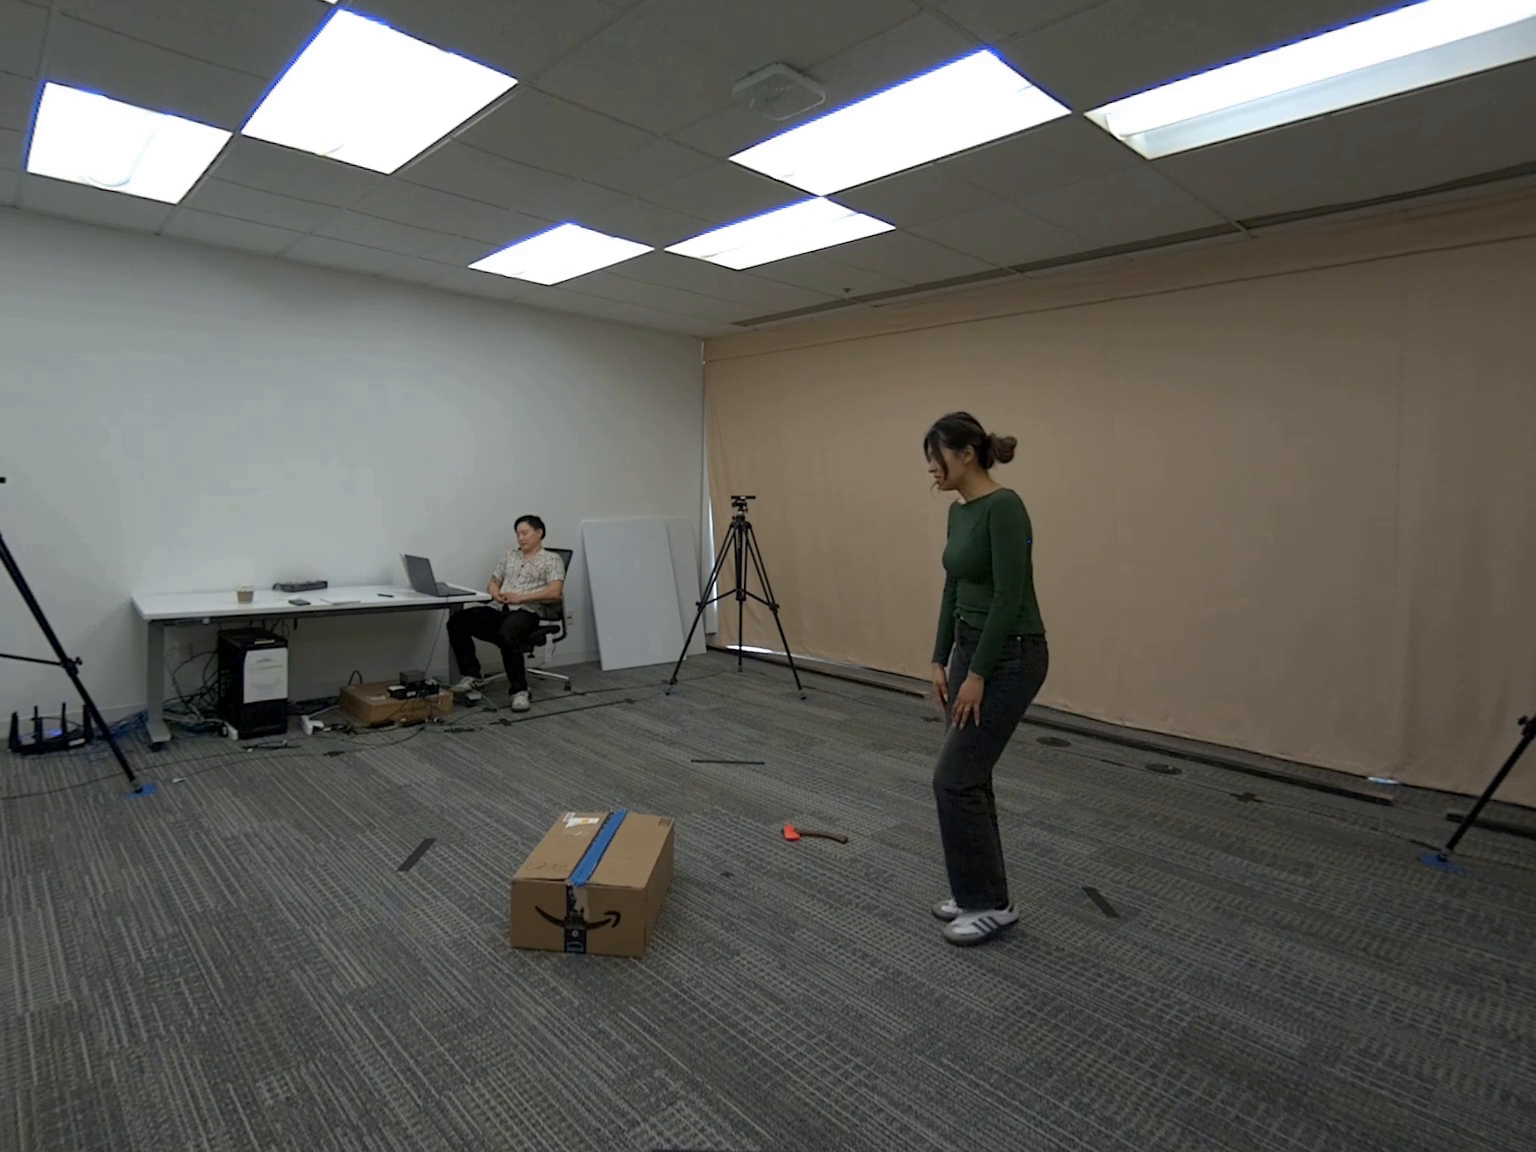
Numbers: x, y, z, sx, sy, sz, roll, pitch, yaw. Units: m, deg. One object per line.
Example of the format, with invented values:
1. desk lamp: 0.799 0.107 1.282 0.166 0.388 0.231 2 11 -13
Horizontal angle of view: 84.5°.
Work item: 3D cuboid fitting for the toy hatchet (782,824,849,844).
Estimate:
1. toy hatchet: 0.172 1.068 3.442 0.275 0.029 0.129 5 6 26
